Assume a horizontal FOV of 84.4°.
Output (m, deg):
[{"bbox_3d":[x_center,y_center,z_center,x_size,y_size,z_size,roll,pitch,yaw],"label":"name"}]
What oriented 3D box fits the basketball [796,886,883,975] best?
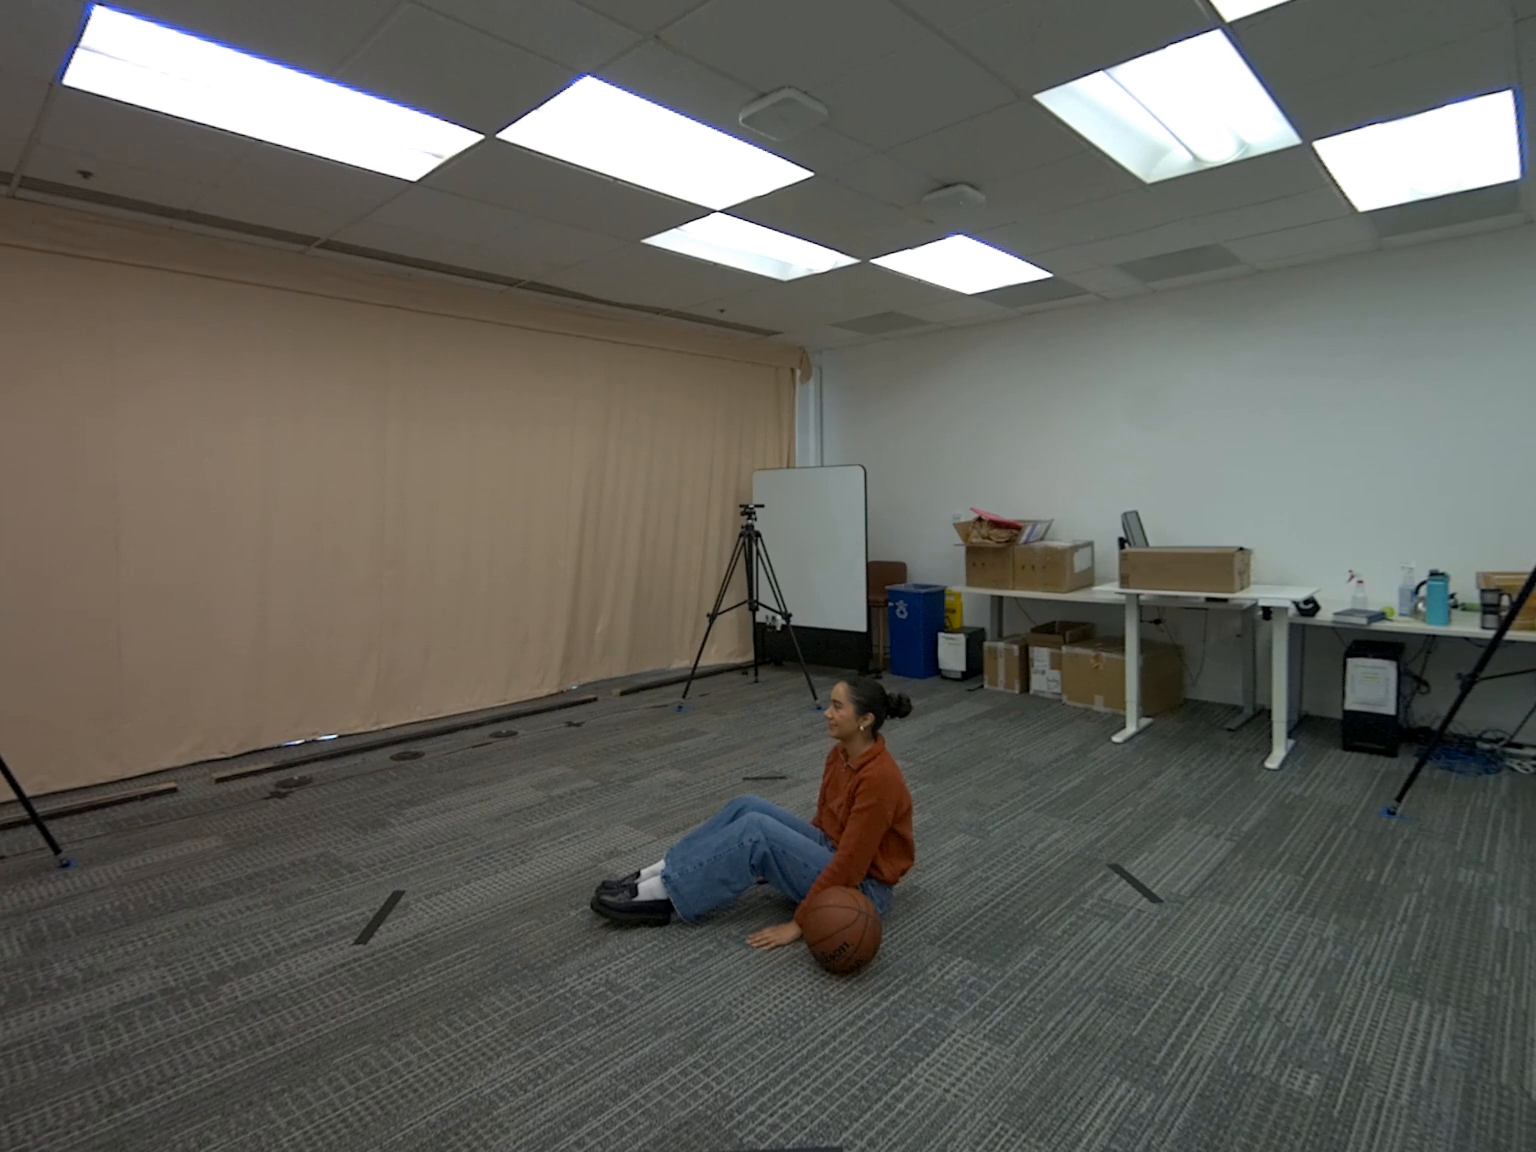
[{"bbox_3d":[0.222,1.052,2.525,0.236,0.235,0.237,-1,4,-2],"label":"basketball"}]
